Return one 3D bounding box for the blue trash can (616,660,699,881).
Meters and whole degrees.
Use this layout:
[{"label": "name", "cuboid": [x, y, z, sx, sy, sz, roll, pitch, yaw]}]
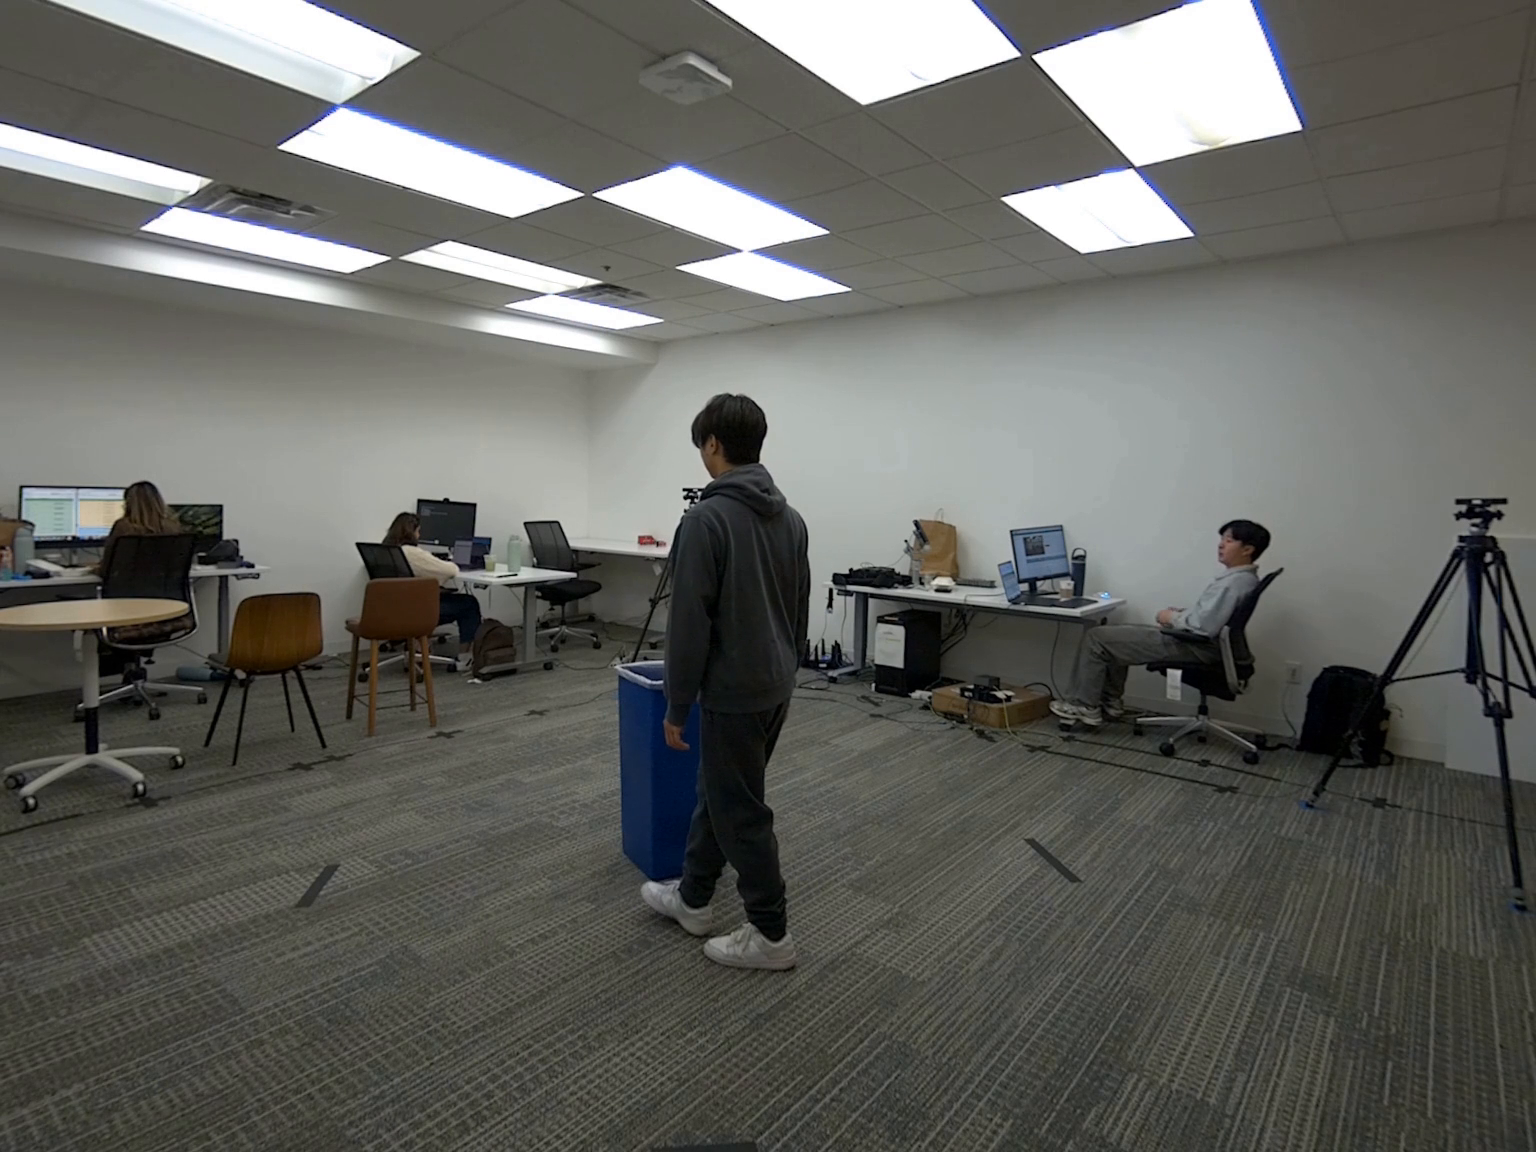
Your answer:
[{"label": "blue trash can", "cuboid": [-0.366, 0.701, 3.186, 0.368, 0.712, 0.385, 0, 3, -30]}]
